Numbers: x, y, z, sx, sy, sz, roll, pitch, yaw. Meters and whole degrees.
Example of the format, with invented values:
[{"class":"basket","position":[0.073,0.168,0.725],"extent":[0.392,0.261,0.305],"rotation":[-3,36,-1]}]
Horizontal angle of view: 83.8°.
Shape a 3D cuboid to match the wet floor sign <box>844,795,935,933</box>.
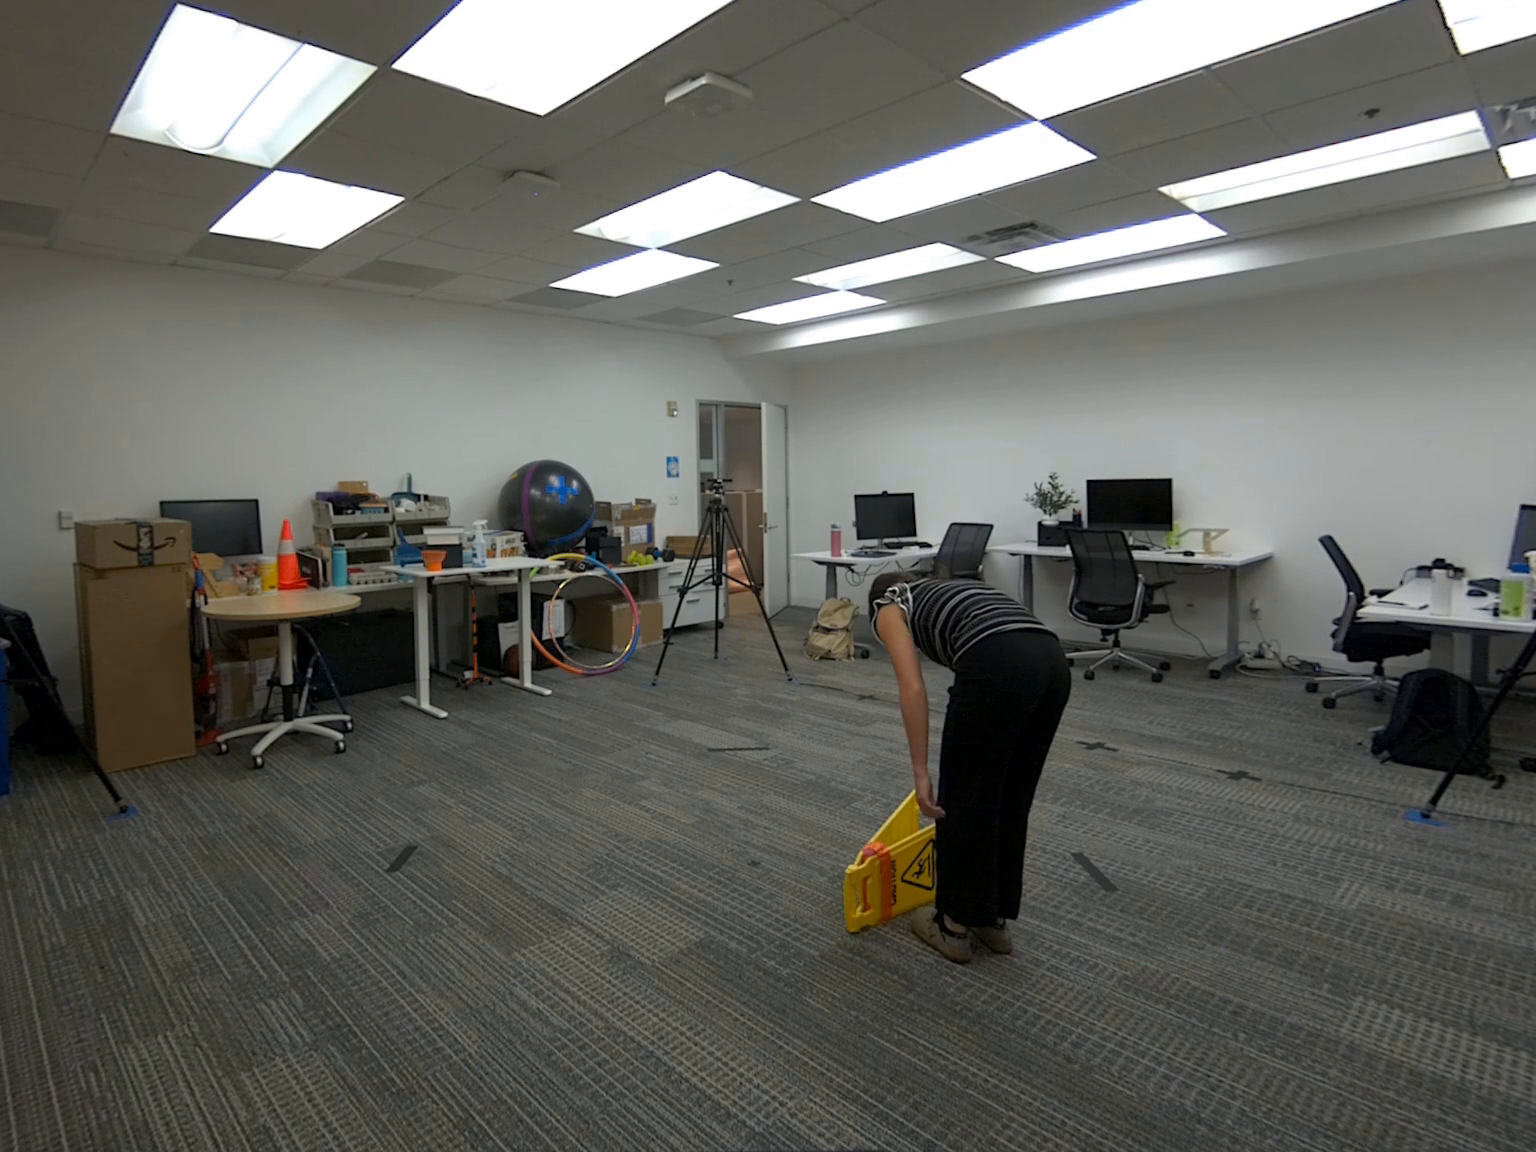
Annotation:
[{"class":"wet floor sign","position":[0.461,0.944,2.818],"extent":[0.299,0.280,0.631],"rotation":[4,11,42]}]
